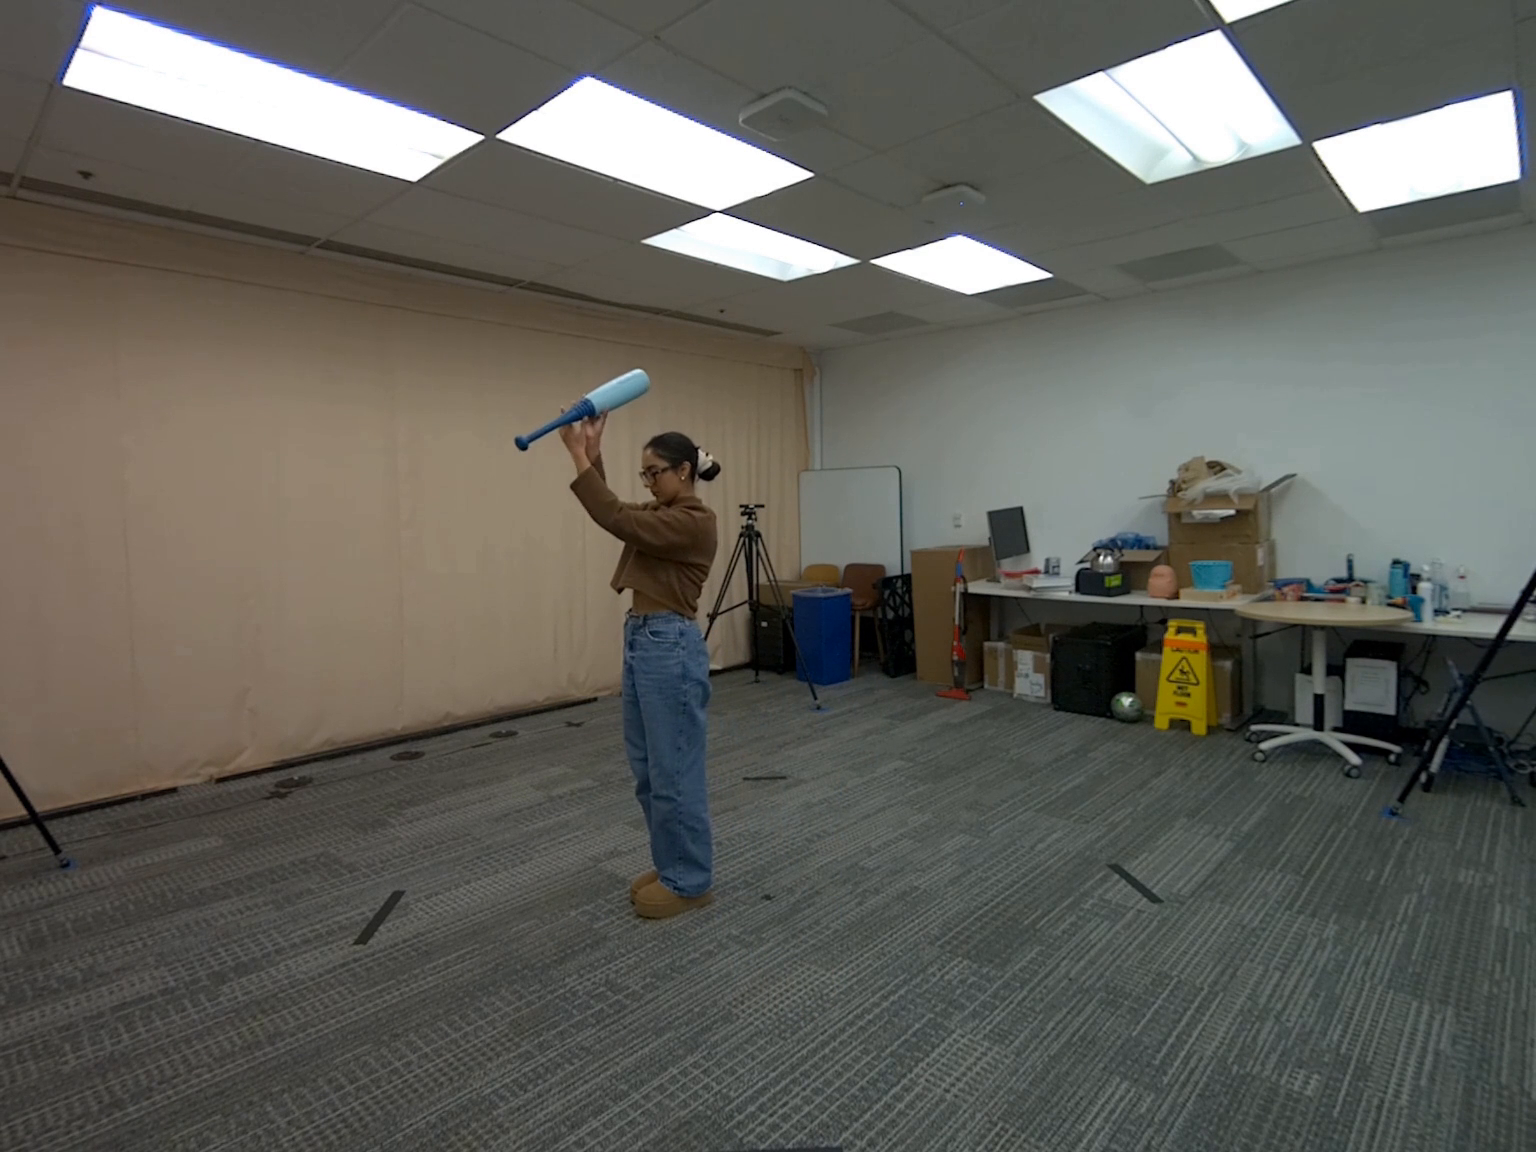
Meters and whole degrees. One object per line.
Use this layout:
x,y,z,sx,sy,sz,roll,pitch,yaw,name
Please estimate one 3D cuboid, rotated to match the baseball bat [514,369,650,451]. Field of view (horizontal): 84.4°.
-0.594,-0.536,2.710,0.092,0.087,0.536,3,33,45,baseball bat
